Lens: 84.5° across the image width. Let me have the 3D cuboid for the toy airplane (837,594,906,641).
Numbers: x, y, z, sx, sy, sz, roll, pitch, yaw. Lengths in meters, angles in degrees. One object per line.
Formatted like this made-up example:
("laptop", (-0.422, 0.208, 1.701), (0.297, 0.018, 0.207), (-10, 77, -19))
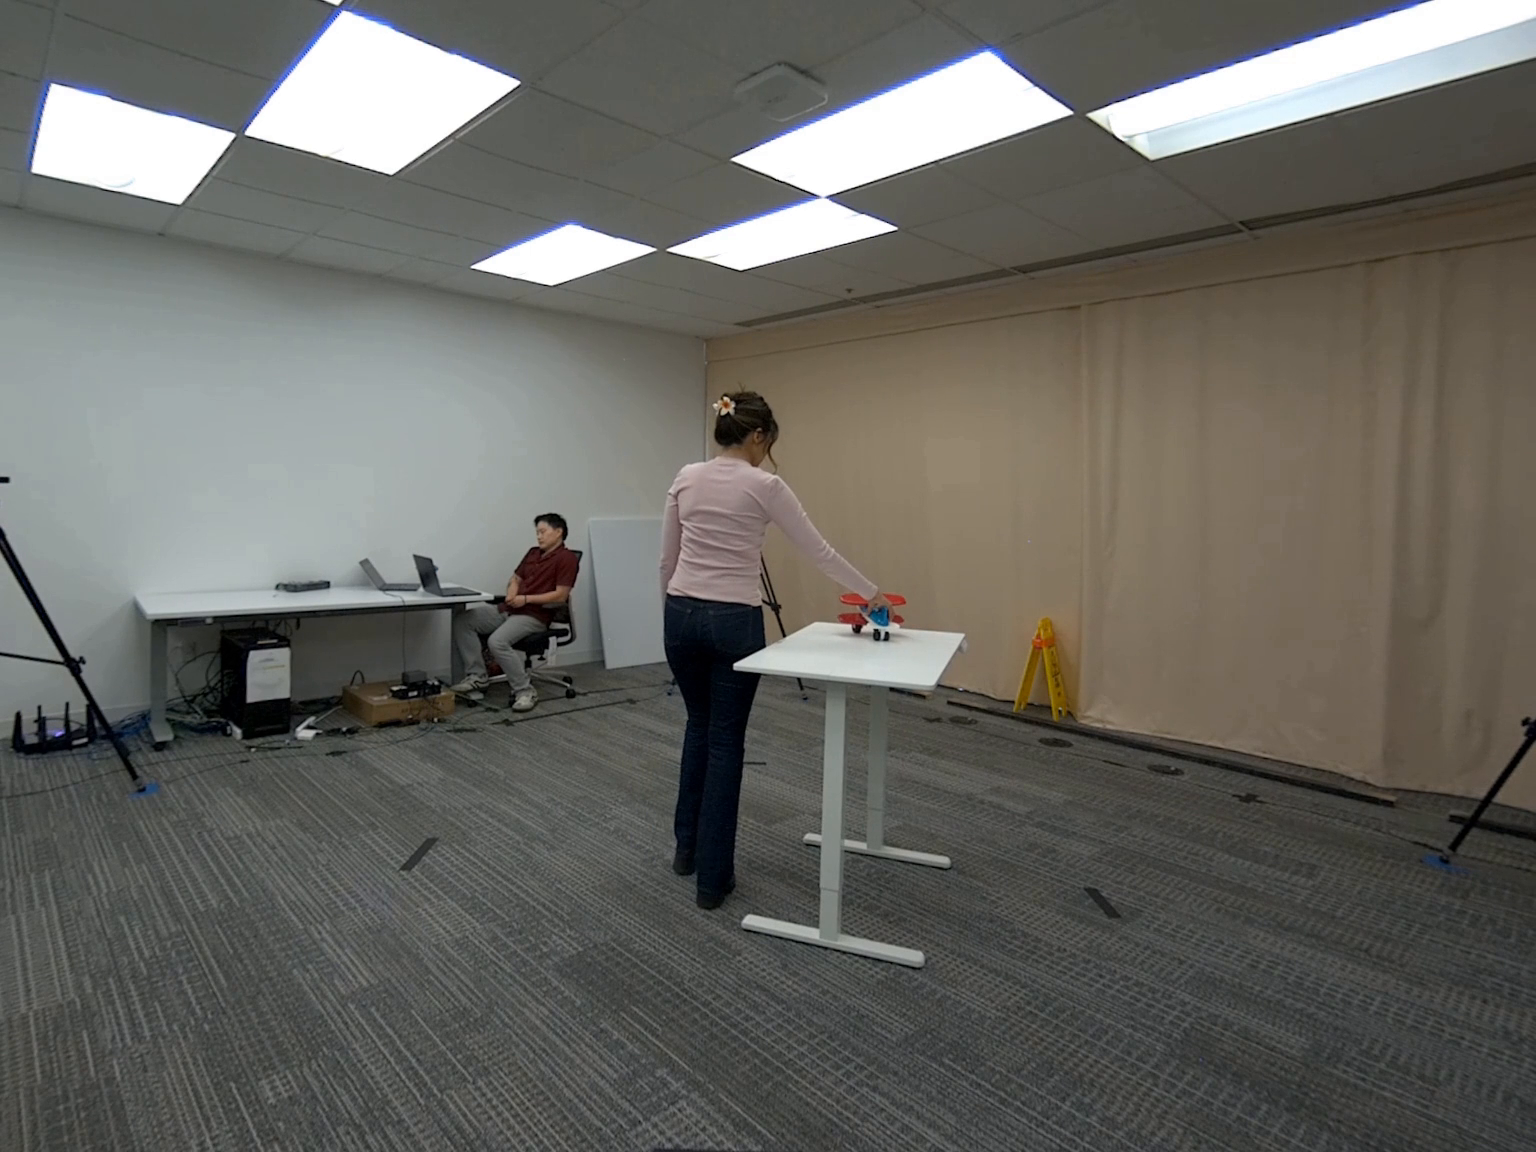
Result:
("toy airplane", (0.413, 0.153, 3.169), (0.245, 0.156, 0.265), (-1, 5, -36))
